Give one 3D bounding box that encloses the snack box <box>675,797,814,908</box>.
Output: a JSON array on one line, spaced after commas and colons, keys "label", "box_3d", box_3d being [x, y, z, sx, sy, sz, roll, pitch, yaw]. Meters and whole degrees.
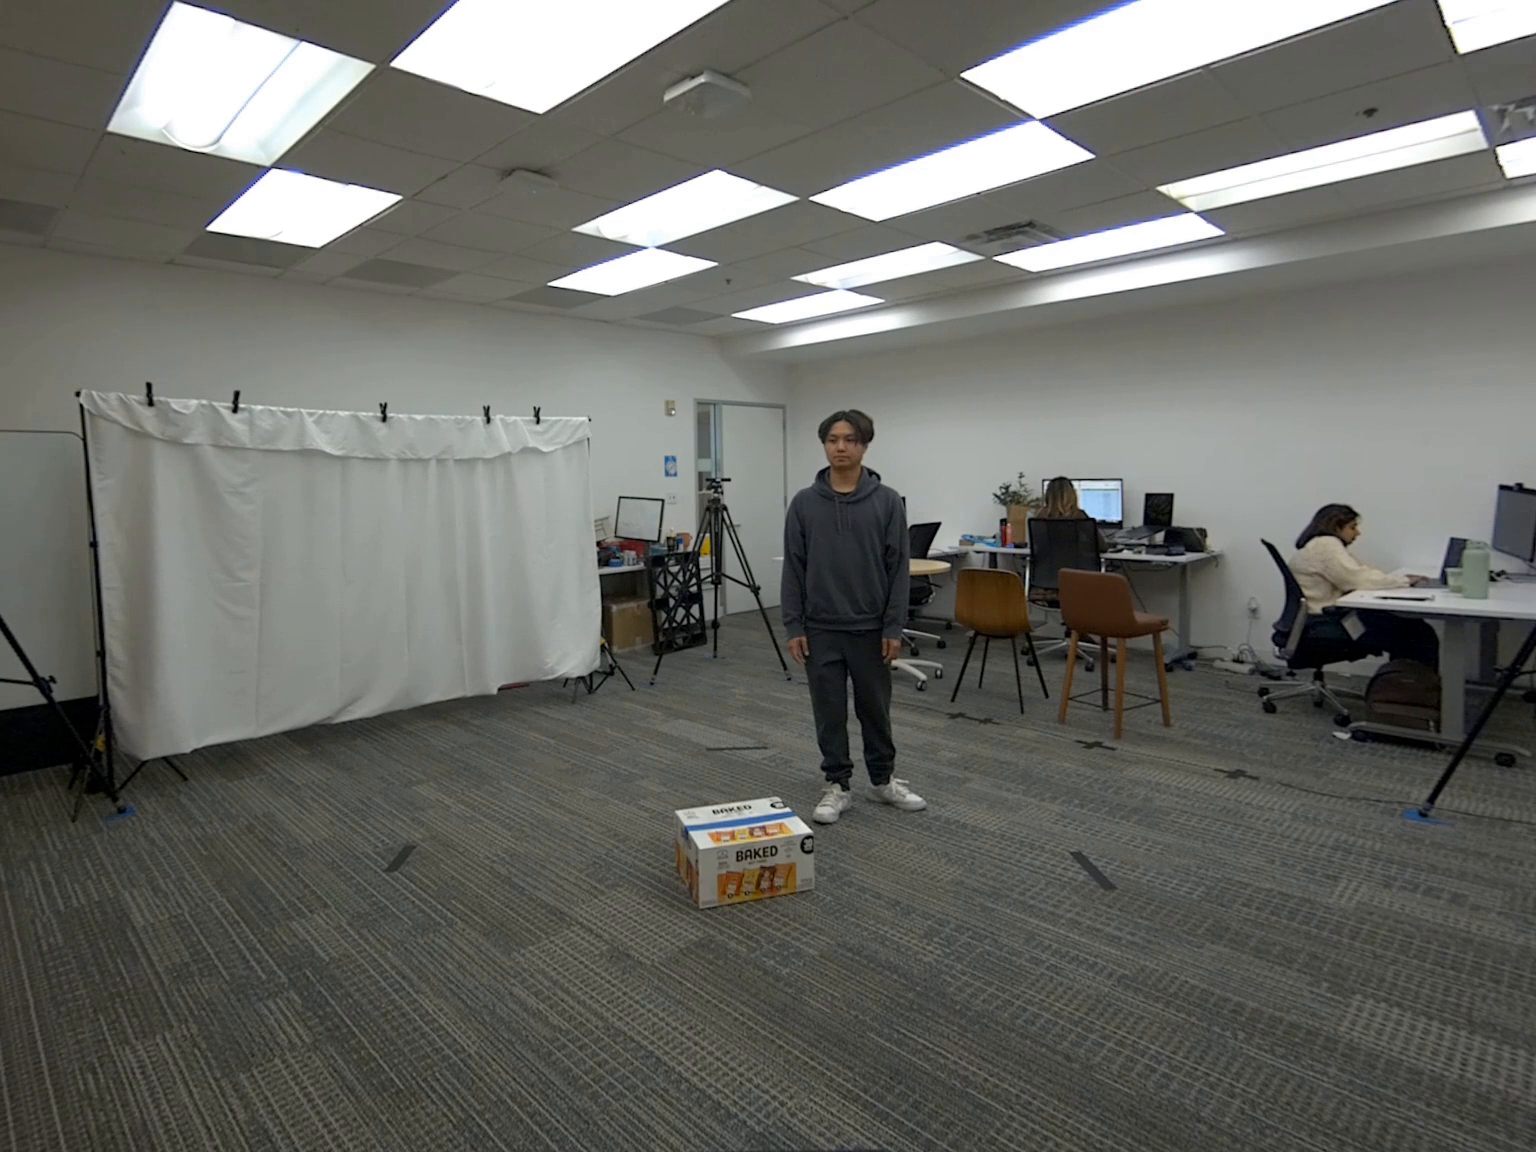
[{"label": "snack box", "box_3d": [-0.087, 0.955, 2.983, 0.399, 0.205, 0.347, -3, 6, -18]}]
